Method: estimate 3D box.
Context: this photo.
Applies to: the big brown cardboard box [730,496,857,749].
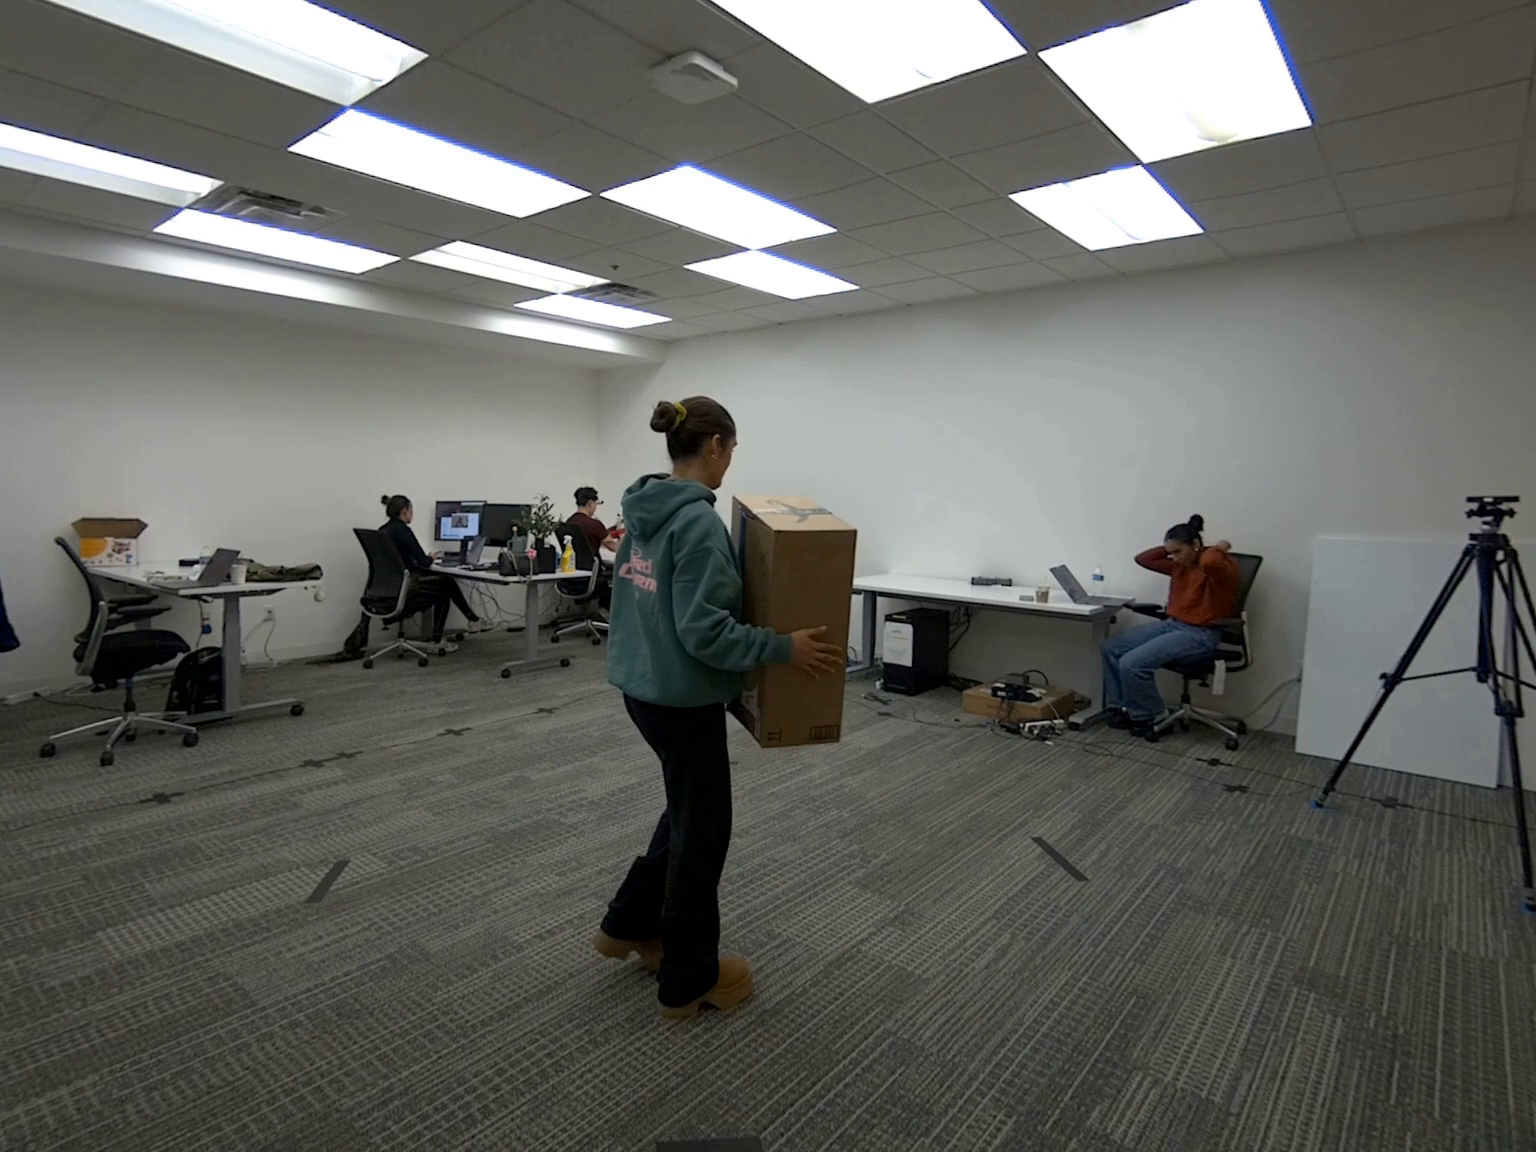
[{"bbox_3d":[0.027,0.107,2.292,0.229,0.582,0.430,0,14,-18],"label":"big brown cardboard box"}]
